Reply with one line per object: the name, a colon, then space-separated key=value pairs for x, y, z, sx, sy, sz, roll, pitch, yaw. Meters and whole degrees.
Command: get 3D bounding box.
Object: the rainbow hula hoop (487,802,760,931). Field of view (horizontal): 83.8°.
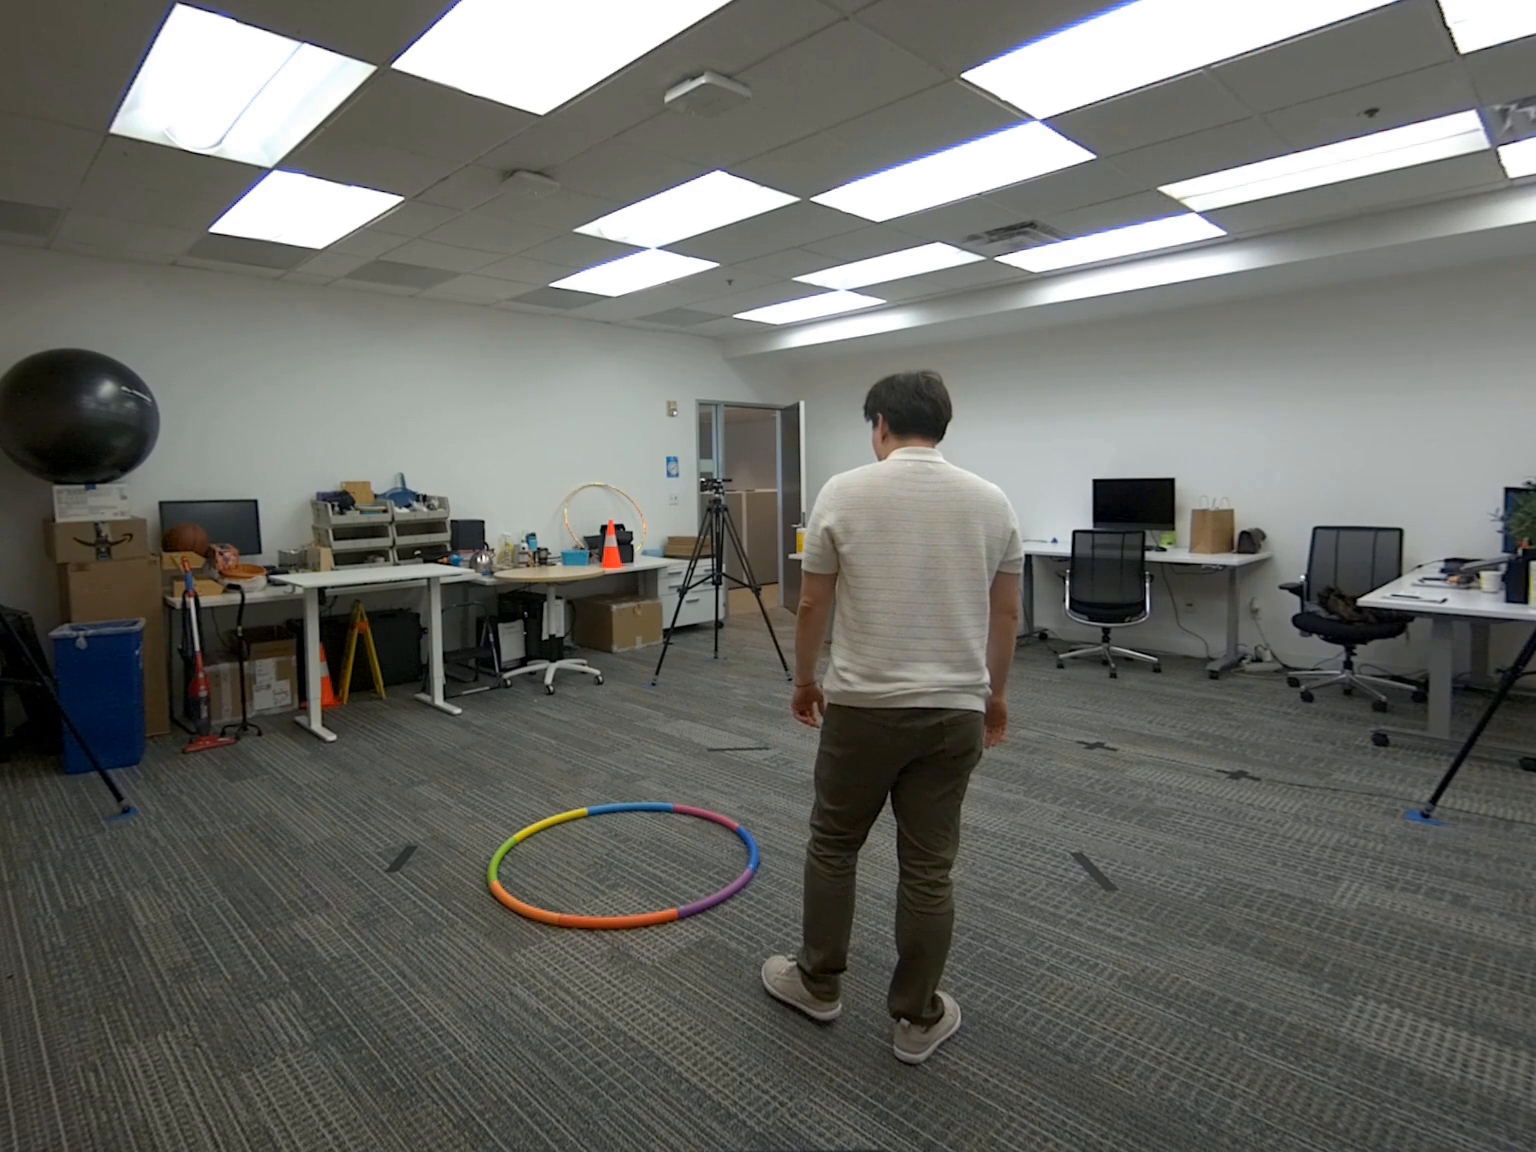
rainbow hula hoop: x=-0.516 y=1.017 z=3.149 sx=0.978 sy=0.035 sz=0.984 roll=-1 pitch=6 yaw=-2
